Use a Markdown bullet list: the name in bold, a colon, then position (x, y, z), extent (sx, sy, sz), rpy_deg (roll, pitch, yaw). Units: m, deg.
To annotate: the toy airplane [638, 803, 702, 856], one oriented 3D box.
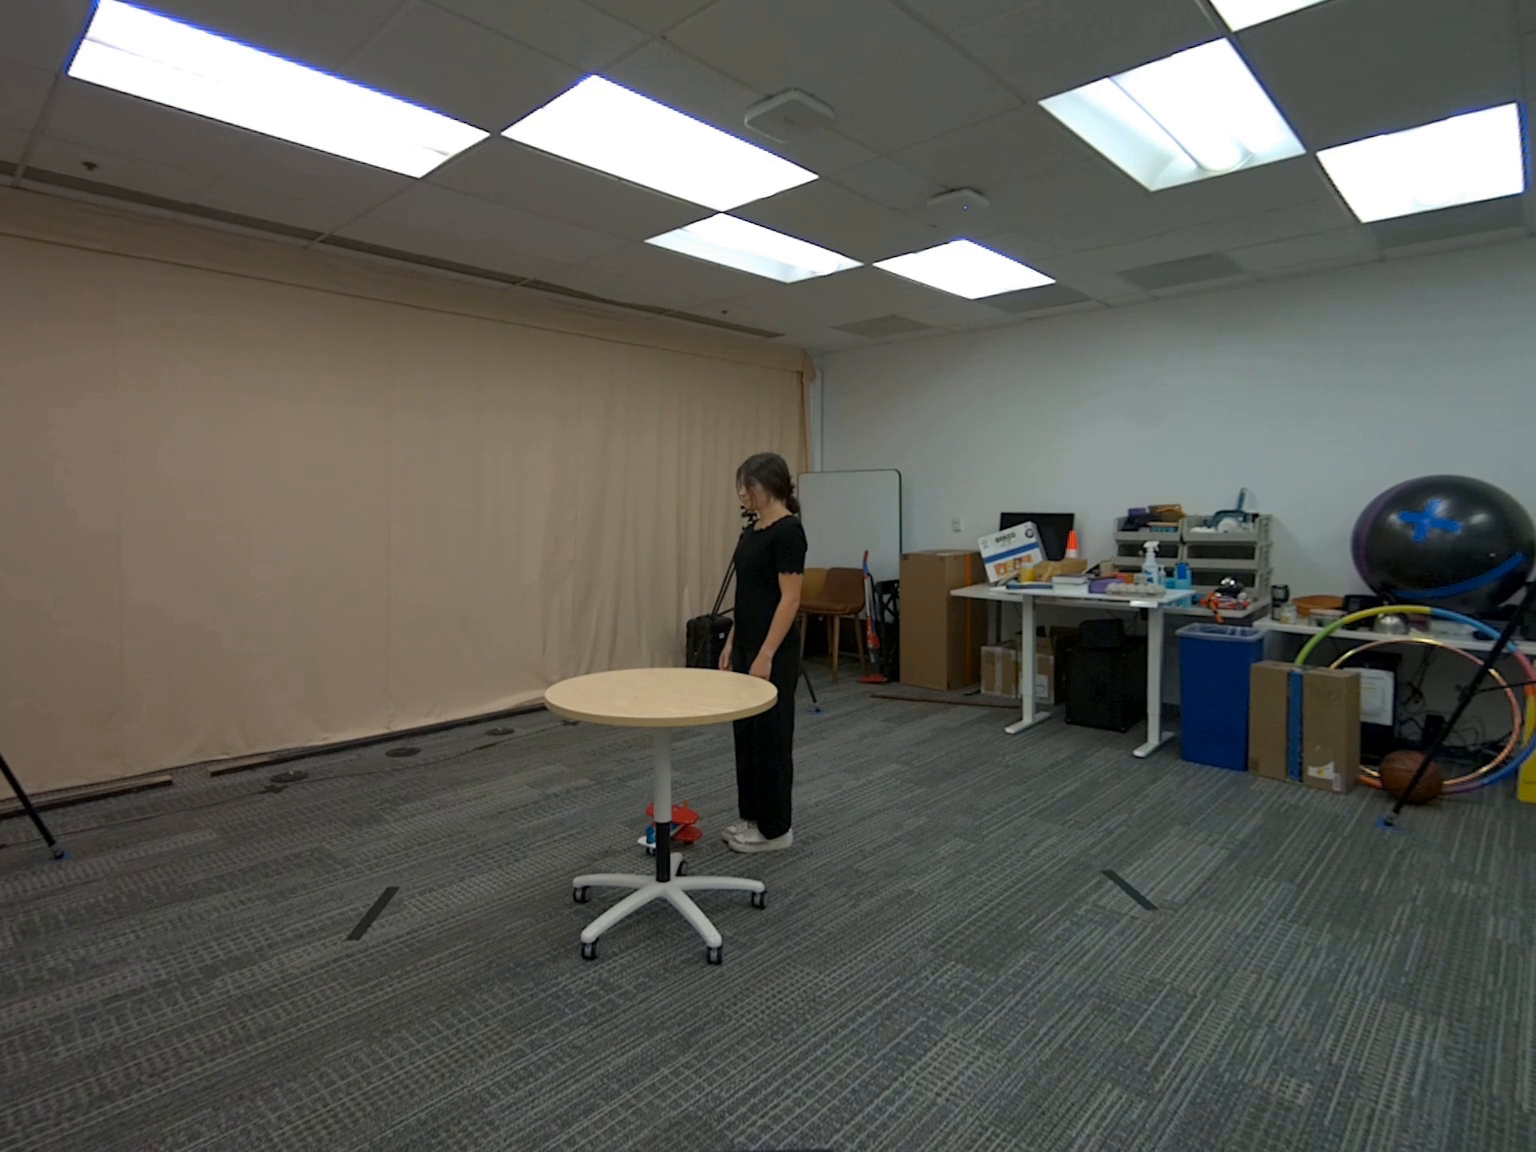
- **toy airplane**: position (-0.389, 1.046, 3.414), extent (0.253, 0.156, 0.258), rpy_deg (-1, 2, 5)
